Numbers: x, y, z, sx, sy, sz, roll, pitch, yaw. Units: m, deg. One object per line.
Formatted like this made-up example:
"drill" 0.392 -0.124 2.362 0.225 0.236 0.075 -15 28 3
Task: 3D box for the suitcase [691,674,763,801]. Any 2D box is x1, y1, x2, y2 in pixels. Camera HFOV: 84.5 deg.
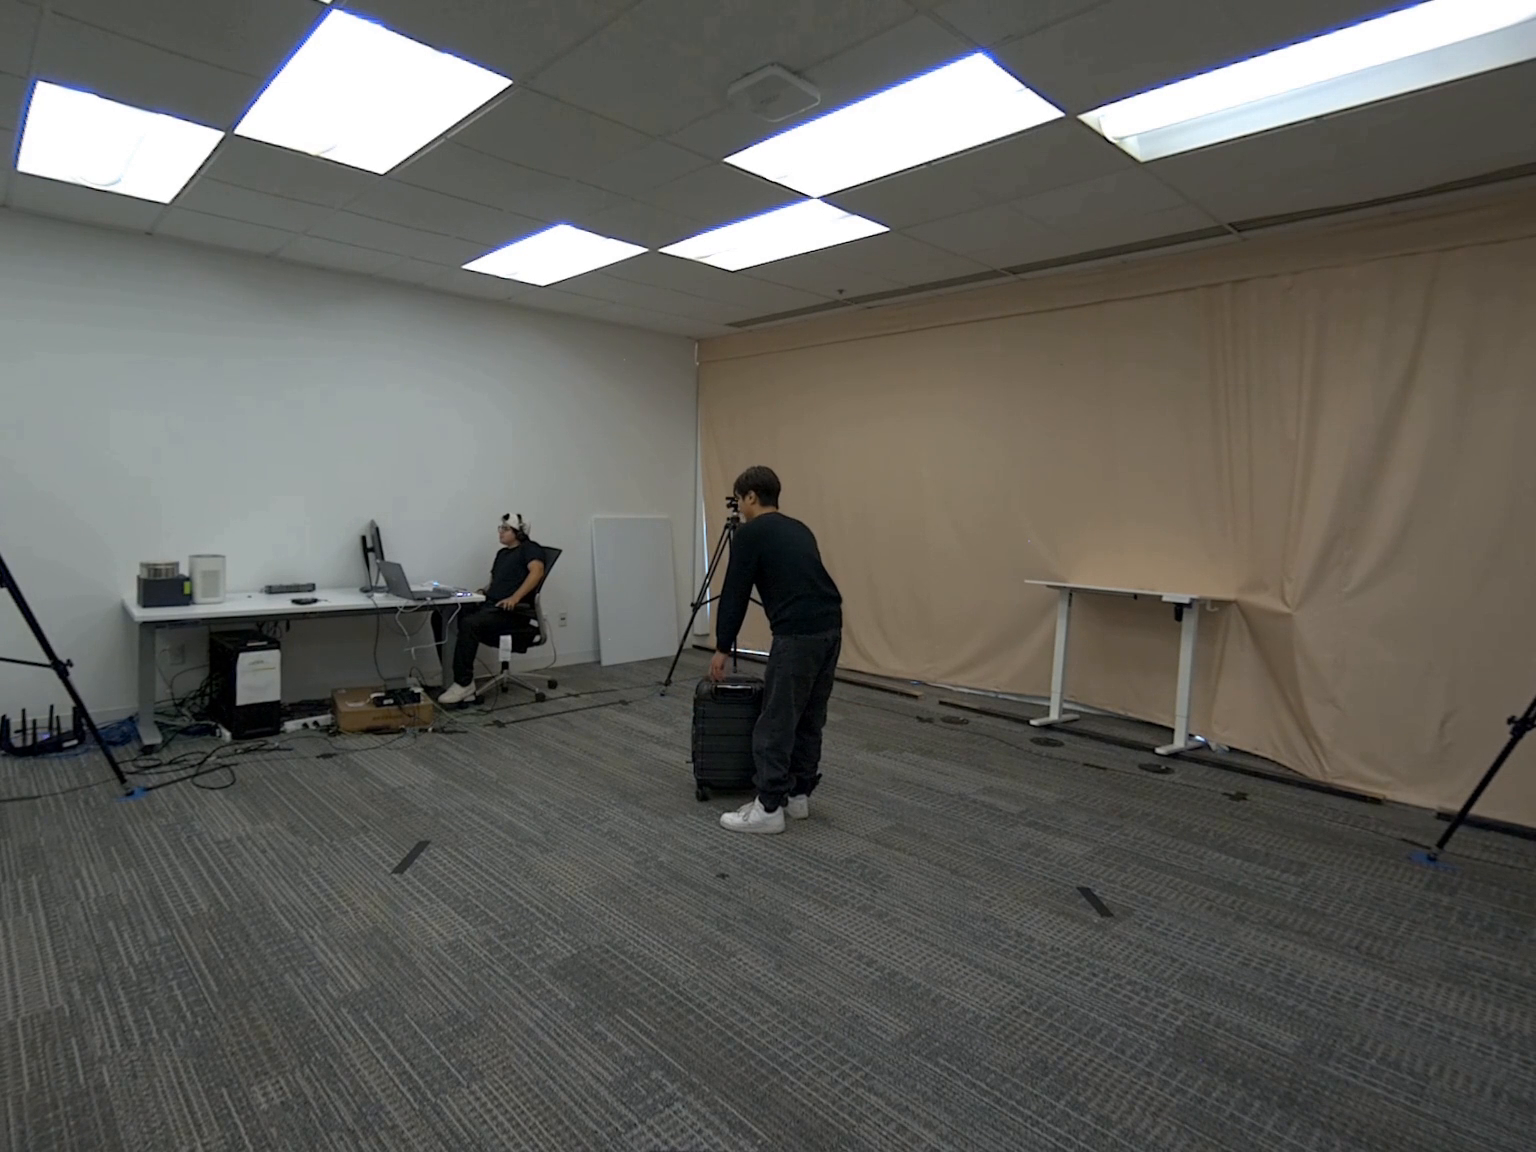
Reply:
"suitcase" -0.186 0.750 4.008 0.375 0.548 0.249 1 3 -3
